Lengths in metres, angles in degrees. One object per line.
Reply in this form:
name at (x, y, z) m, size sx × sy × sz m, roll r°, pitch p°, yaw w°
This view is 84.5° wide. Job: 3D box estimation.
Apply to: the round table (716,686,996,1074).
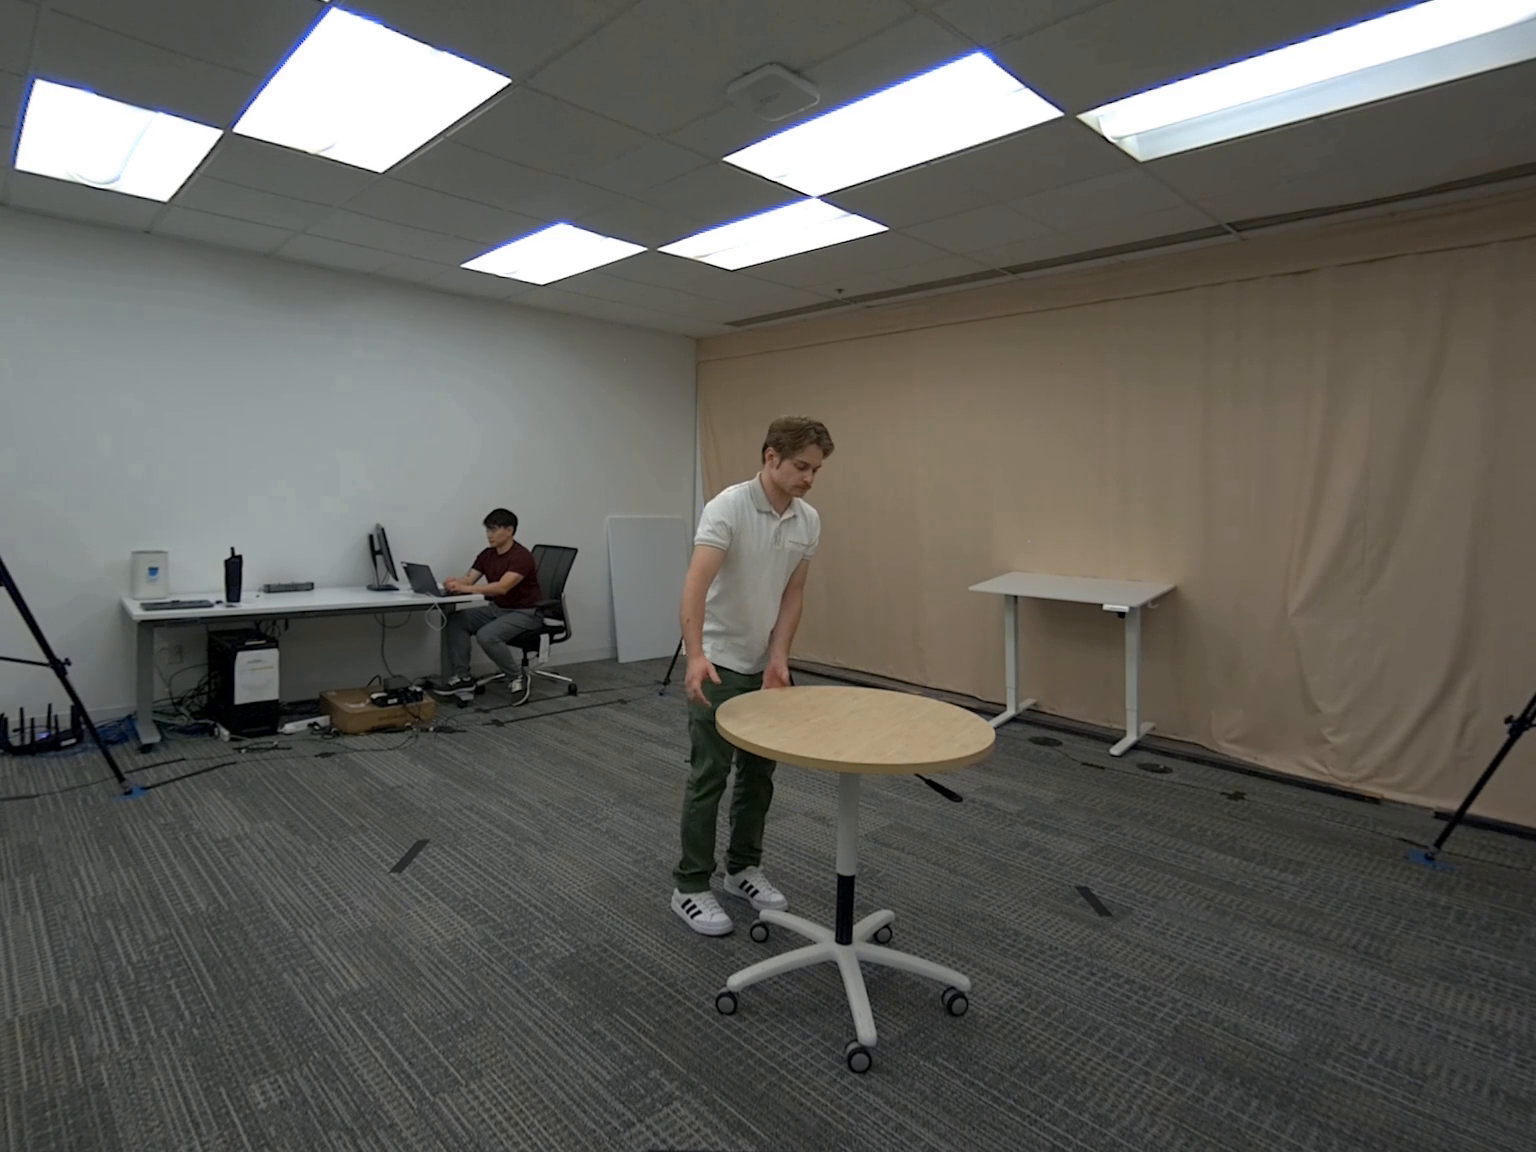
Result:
round table at (0.220, 0.793, 2.374) m, size 0.763 × 0.791 × 0.767 m, roll 2°, pitch 5°, yaw -2°
